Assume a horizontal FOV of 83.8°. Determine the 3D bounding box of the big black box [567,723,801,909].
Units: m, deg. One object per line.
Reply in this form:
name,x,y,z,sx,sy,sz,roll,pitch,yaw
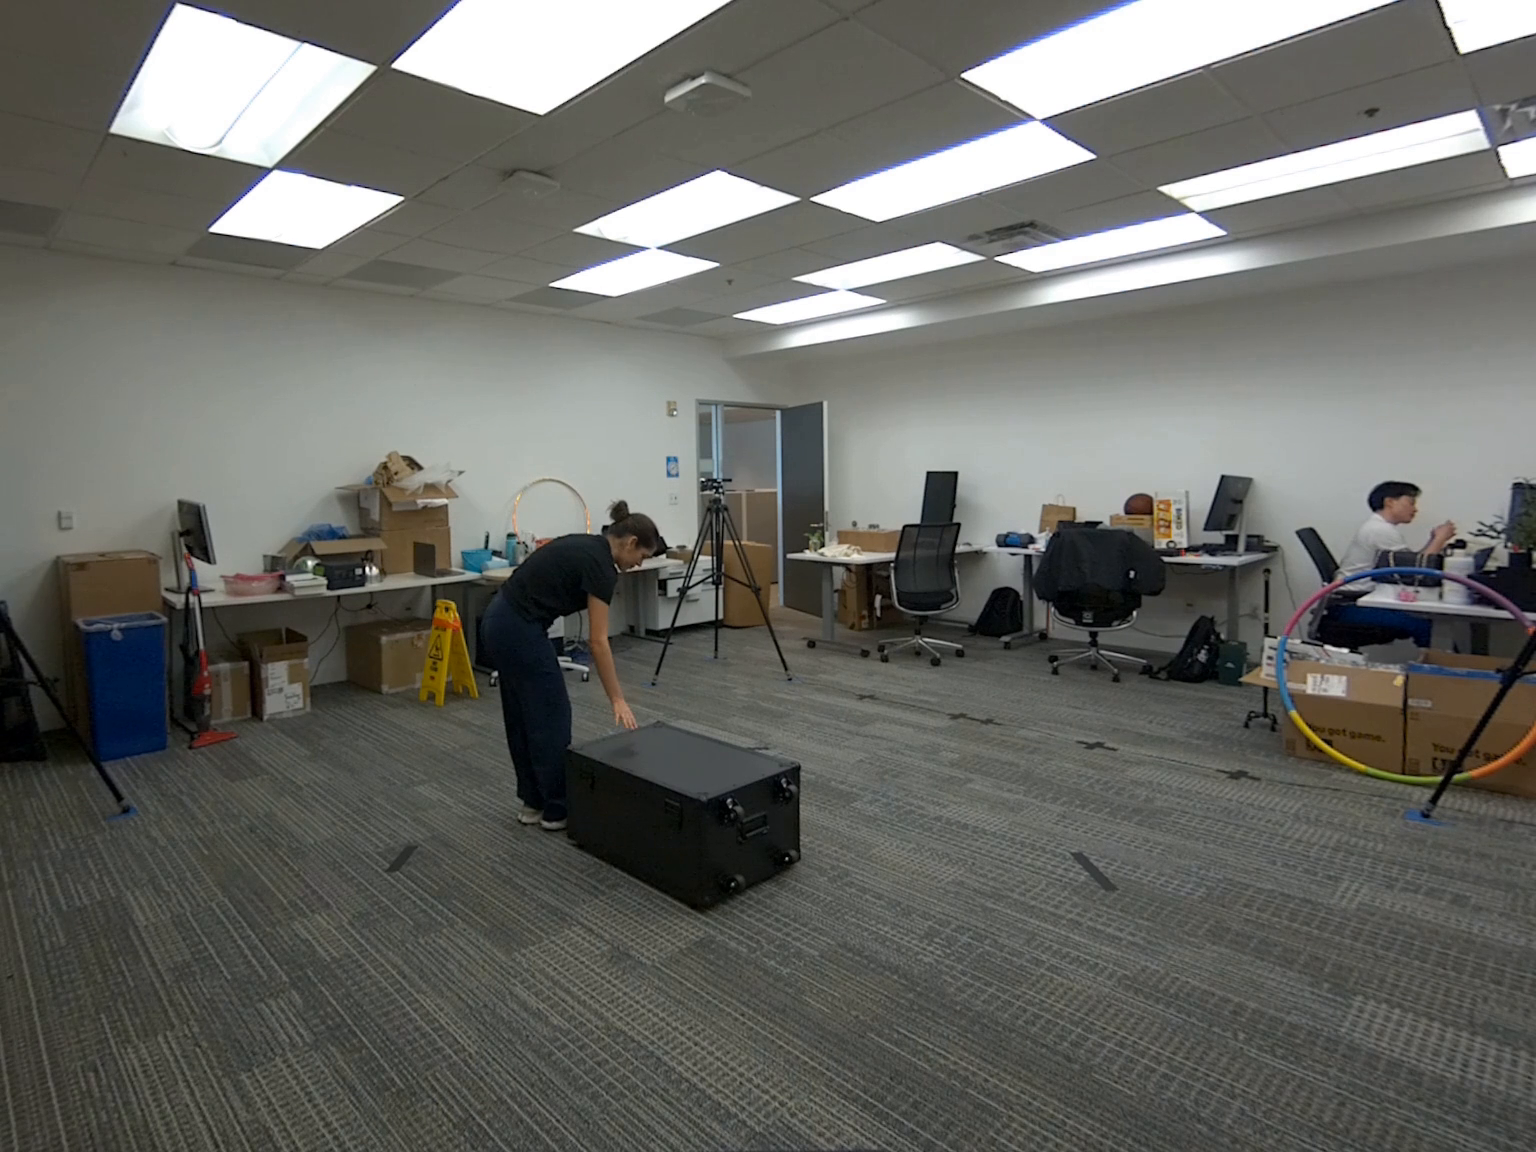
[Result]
big black box,-0.303,0.835,3.160,0.888,0.394,0.507,5,8,44
